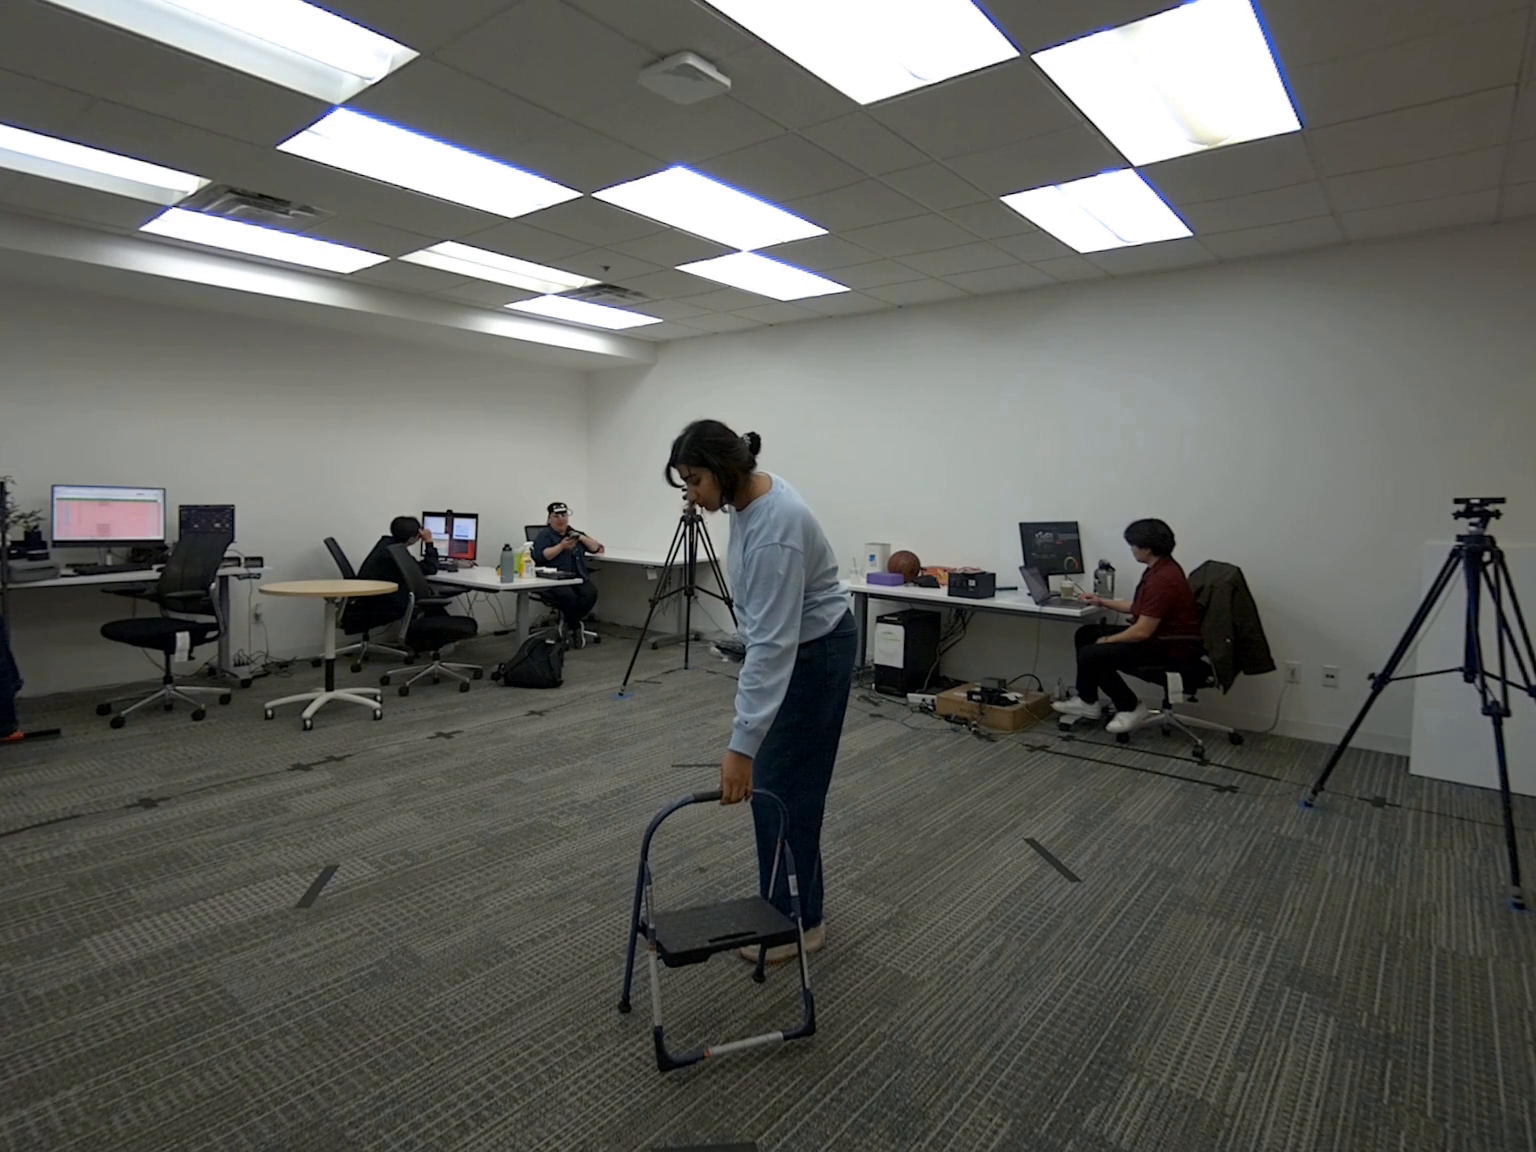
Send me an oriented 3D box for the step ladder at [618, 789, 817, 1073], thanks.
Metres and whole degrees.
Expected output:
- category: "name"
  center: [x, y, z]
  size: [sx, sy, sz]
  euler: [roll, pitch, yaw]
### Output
- category: "step ladder"
  center: [-0.149, 0.846, 2.206]
  size: [0.421, 0.607, 0.357]
  euler: [-1, -1, -24]
